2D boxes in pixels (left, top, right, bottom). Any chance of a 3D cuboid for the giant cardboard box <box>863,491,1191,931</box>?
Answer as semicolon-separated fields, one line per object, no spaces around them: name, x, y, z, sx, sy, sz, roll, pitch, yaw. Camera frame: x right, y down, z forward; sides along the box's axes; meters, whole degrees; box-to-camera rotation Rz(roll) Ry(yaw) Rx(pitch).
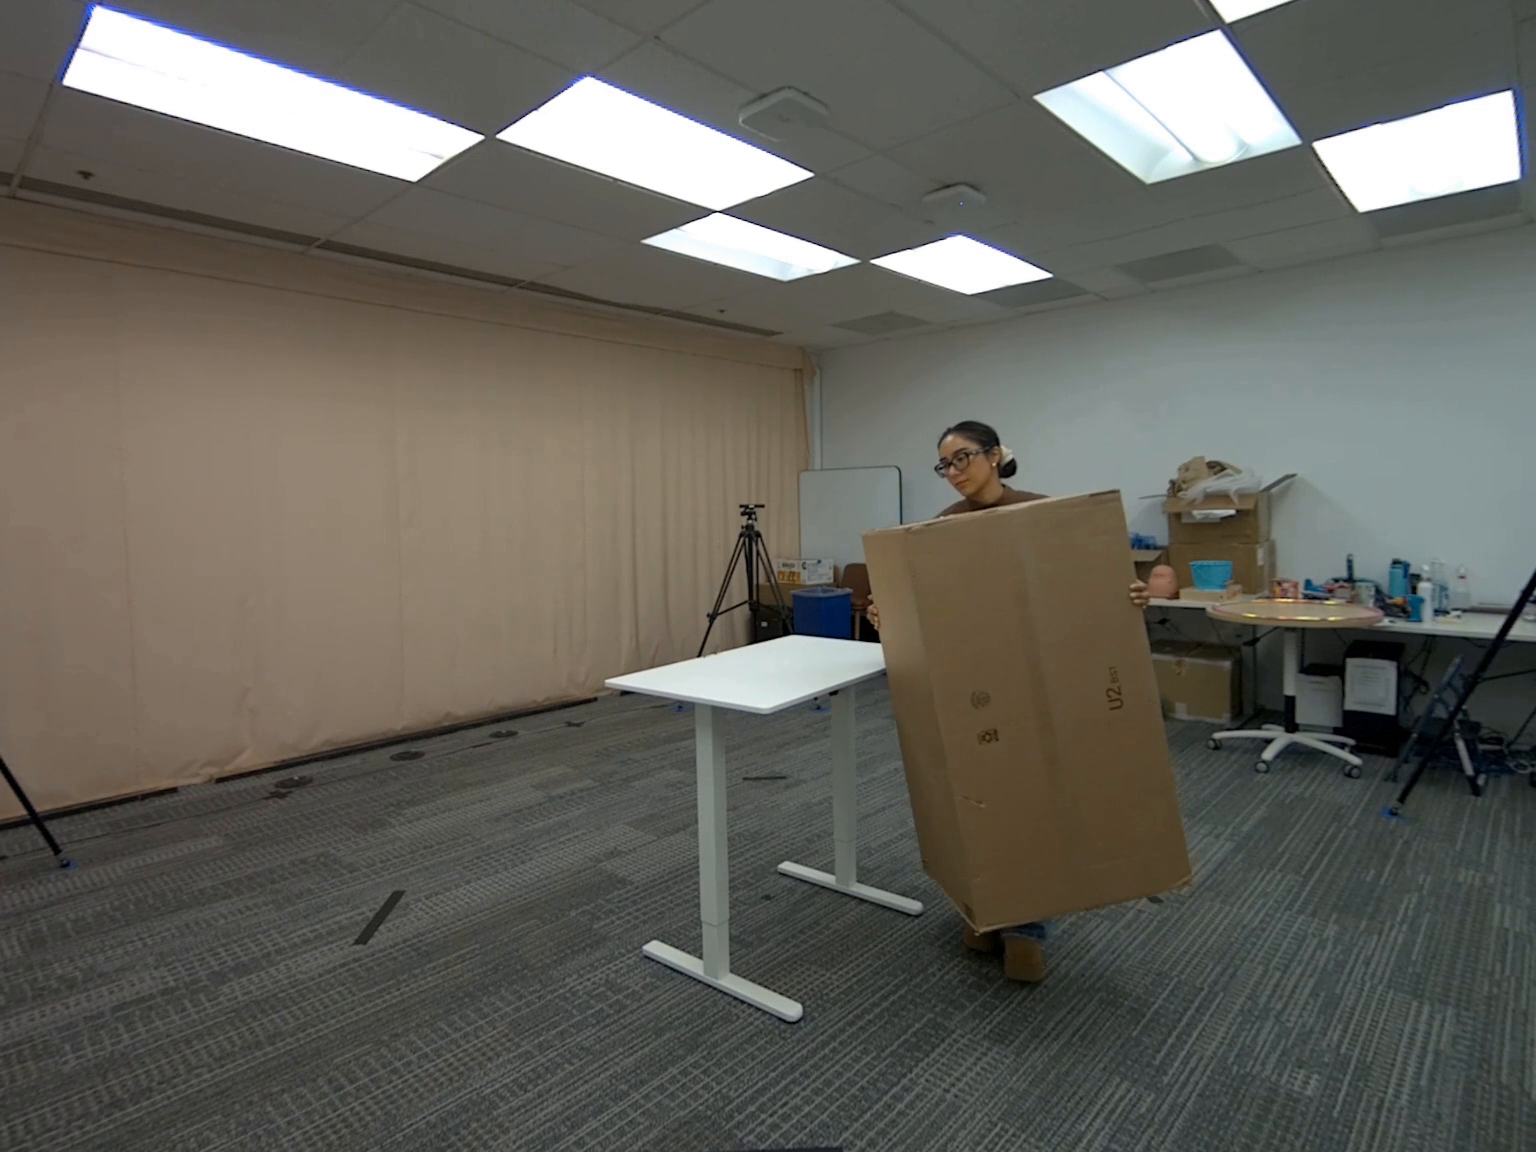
giant cardboard box;0.678;0.331;2.297;0.574;1.026;0.429;-10;0;-6
